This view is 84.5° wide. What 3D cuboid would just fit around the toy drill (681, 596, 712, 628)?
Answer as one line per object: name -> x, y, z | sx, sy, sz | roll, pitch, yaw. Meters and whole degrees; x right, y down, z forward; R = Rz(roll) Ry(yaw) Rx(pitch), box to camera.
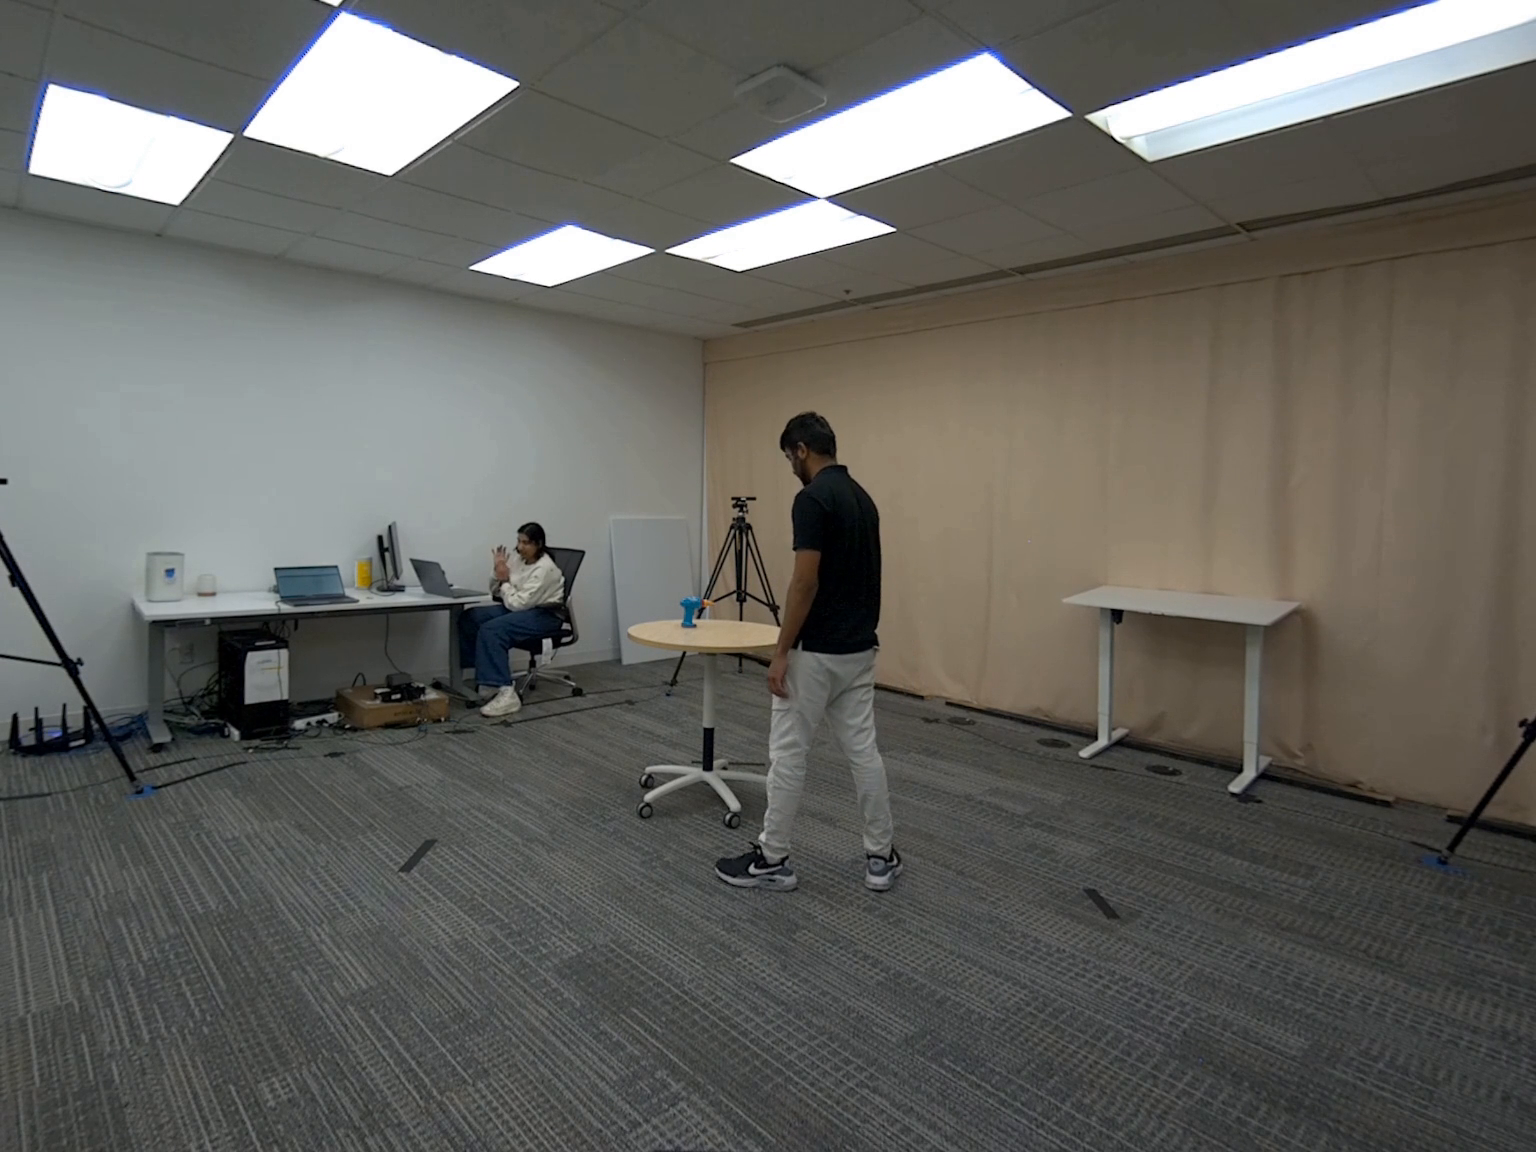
toy drill -> -0.343, 0.169, 3.988 | 0.167, 0.146, 0.062 | 2, 0, -20
